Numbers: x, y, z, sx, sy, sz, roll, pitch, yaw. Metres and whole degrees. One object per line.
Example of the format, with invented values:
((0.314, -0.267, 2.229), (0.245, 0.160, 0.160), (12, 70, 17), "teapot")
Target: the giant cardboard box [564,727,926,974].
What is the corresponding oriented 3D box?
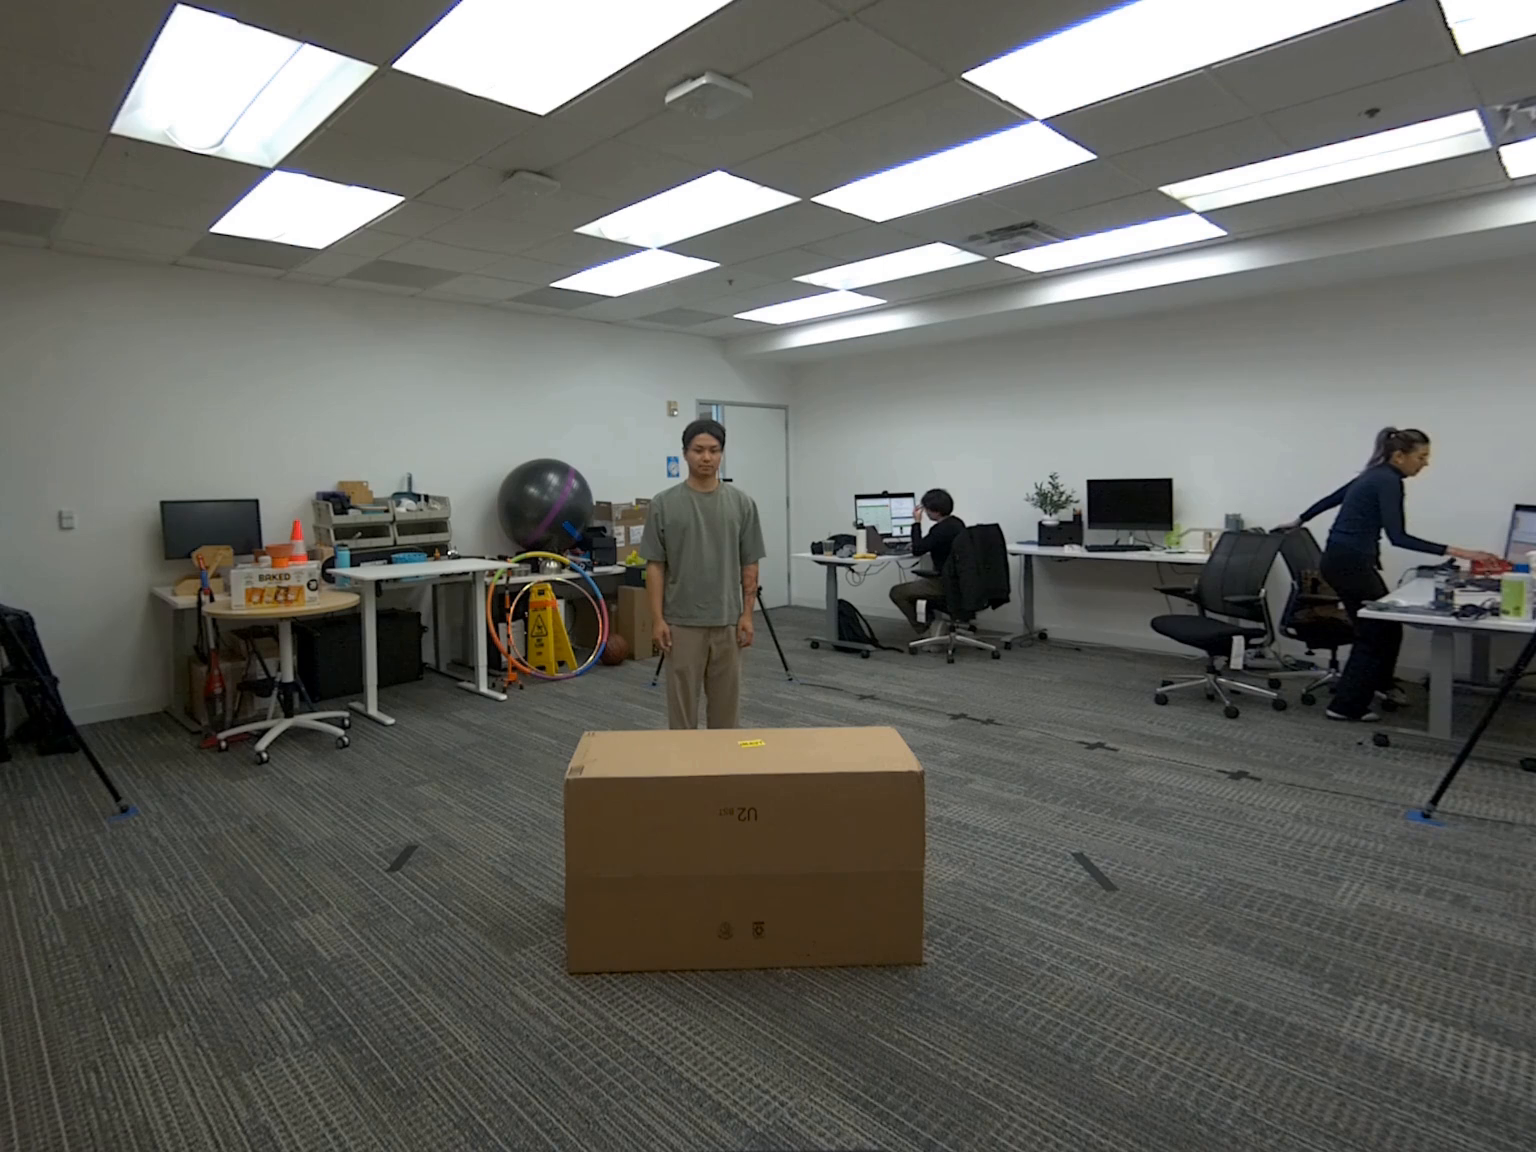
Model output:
((-0.077, 0.811, 2.627), (1.025, 0.575, 0.429), (-1, 5, -1), "giant cardboard box")
